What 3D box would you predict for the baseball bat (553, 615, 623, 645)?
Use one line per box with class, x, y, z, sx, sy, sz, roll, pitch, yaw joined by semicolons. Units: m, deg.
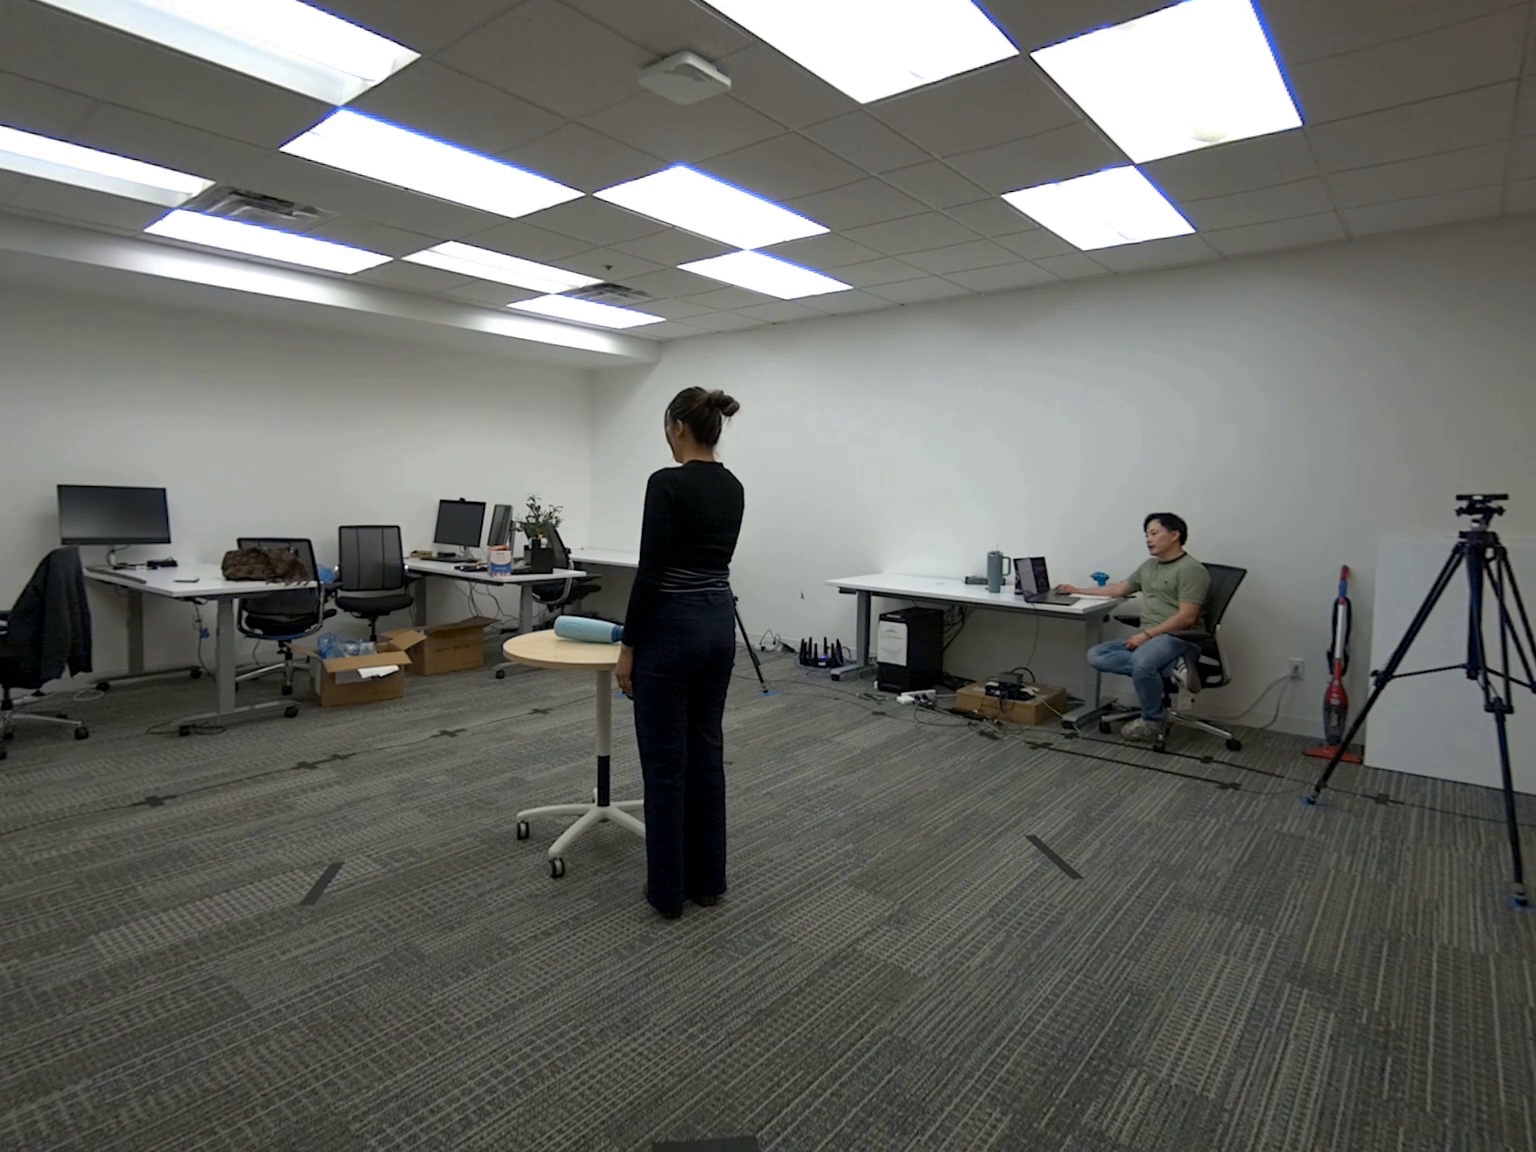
baseball bat;-0.587;0.226;3.283;0.552;0.089;0.088;6;5;15
